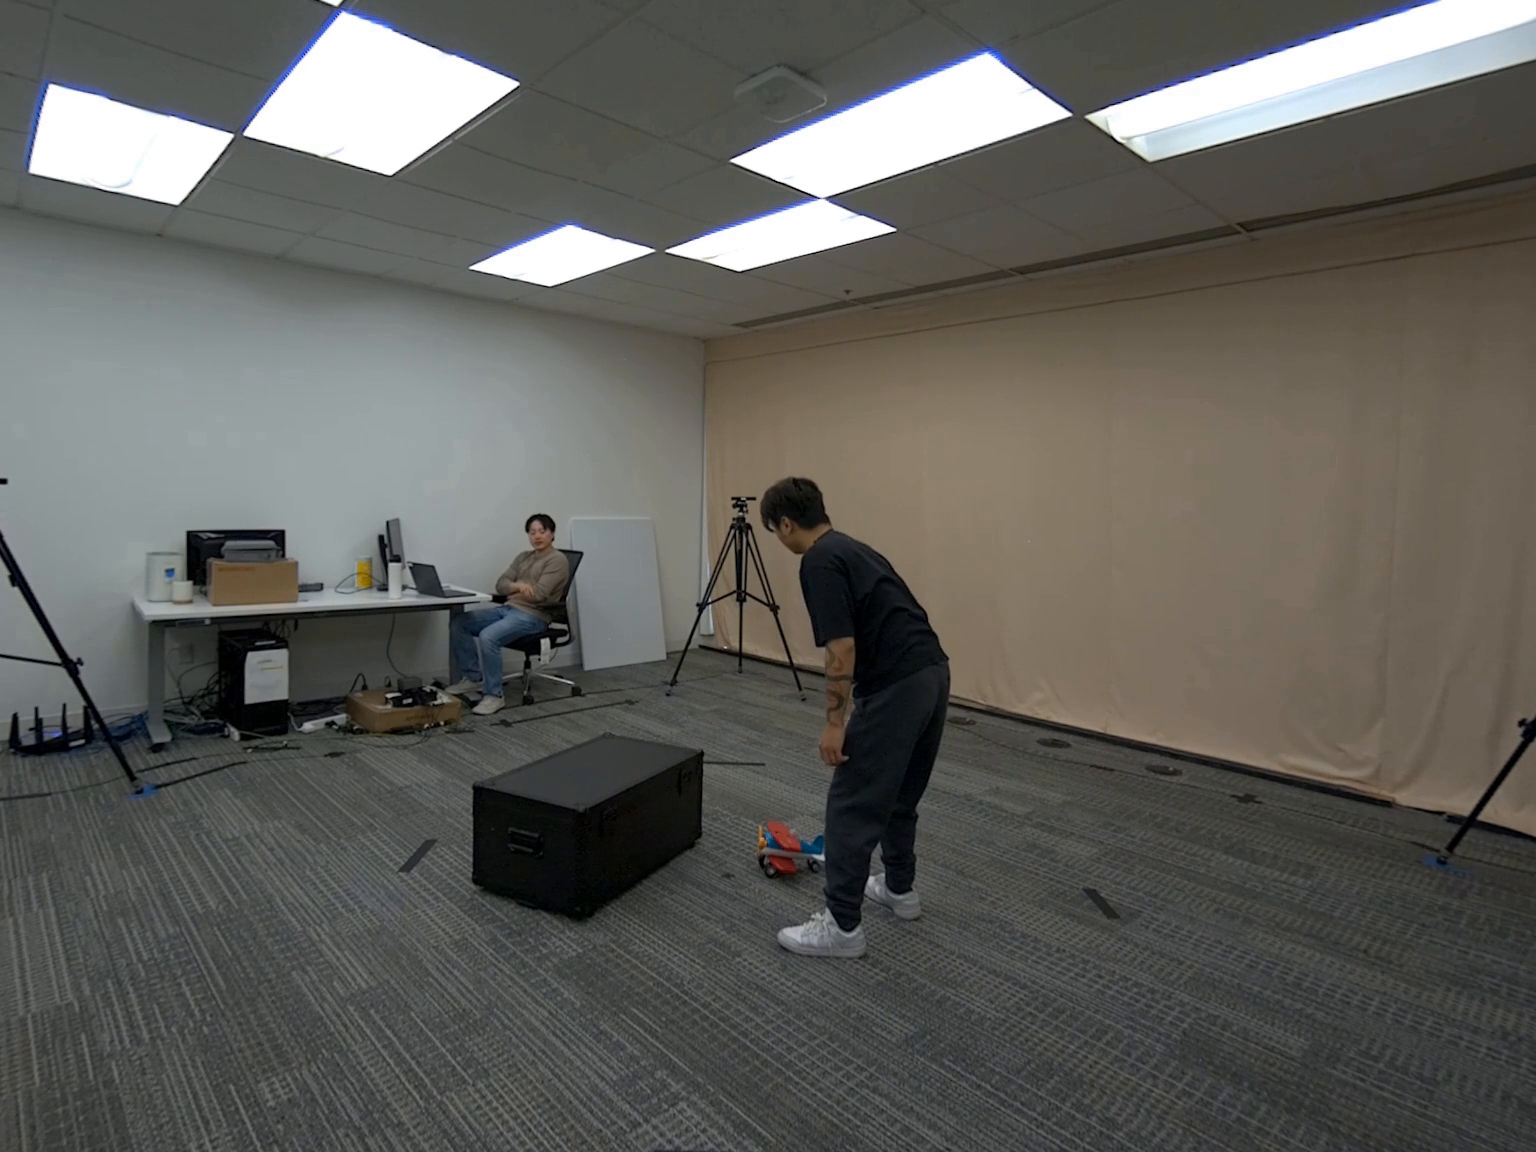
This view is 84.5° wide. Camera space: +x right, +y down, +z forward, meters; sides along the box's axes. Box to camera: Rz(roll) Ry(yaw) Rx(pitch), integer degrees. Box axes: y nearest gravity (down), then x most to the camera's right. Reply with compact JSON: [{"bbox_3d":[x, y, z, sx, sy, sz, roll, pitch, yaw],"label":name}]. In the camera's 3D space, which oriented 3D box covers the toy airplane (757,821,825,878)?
[{"bbox_3d":[0.066,1.027,3.173,0.253,0.156,0.257,-4,6,-41],"label":"toy airplane"}]
